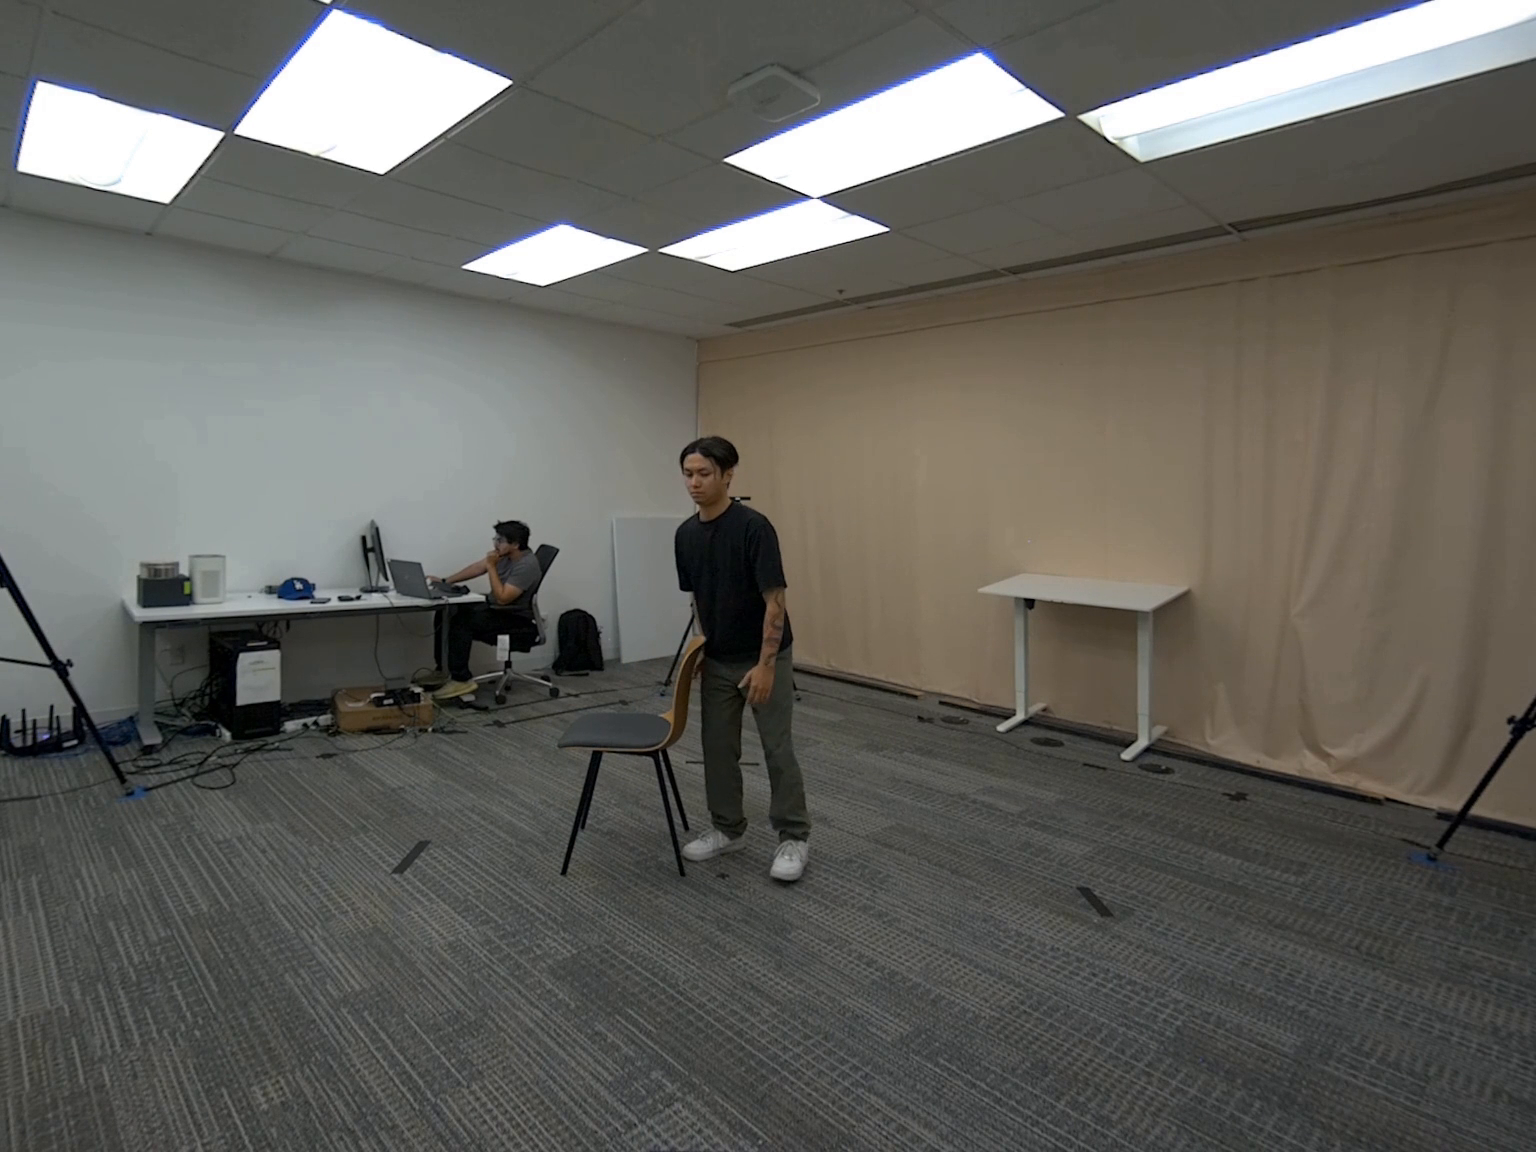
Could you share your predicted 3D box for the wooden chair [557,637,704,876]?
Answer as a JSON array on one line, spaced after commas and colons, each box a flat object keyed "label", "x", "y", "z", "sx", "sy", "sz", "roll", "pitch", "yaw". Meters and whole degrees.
[{"label": "wooden chair", "x": -0.545, "y": 0.655, "z": 3.260, "sx": 0.522, "sy": 0.875, "sz": 0.481, "roll": 5, "pitch": 4, "yaw": -3}]
